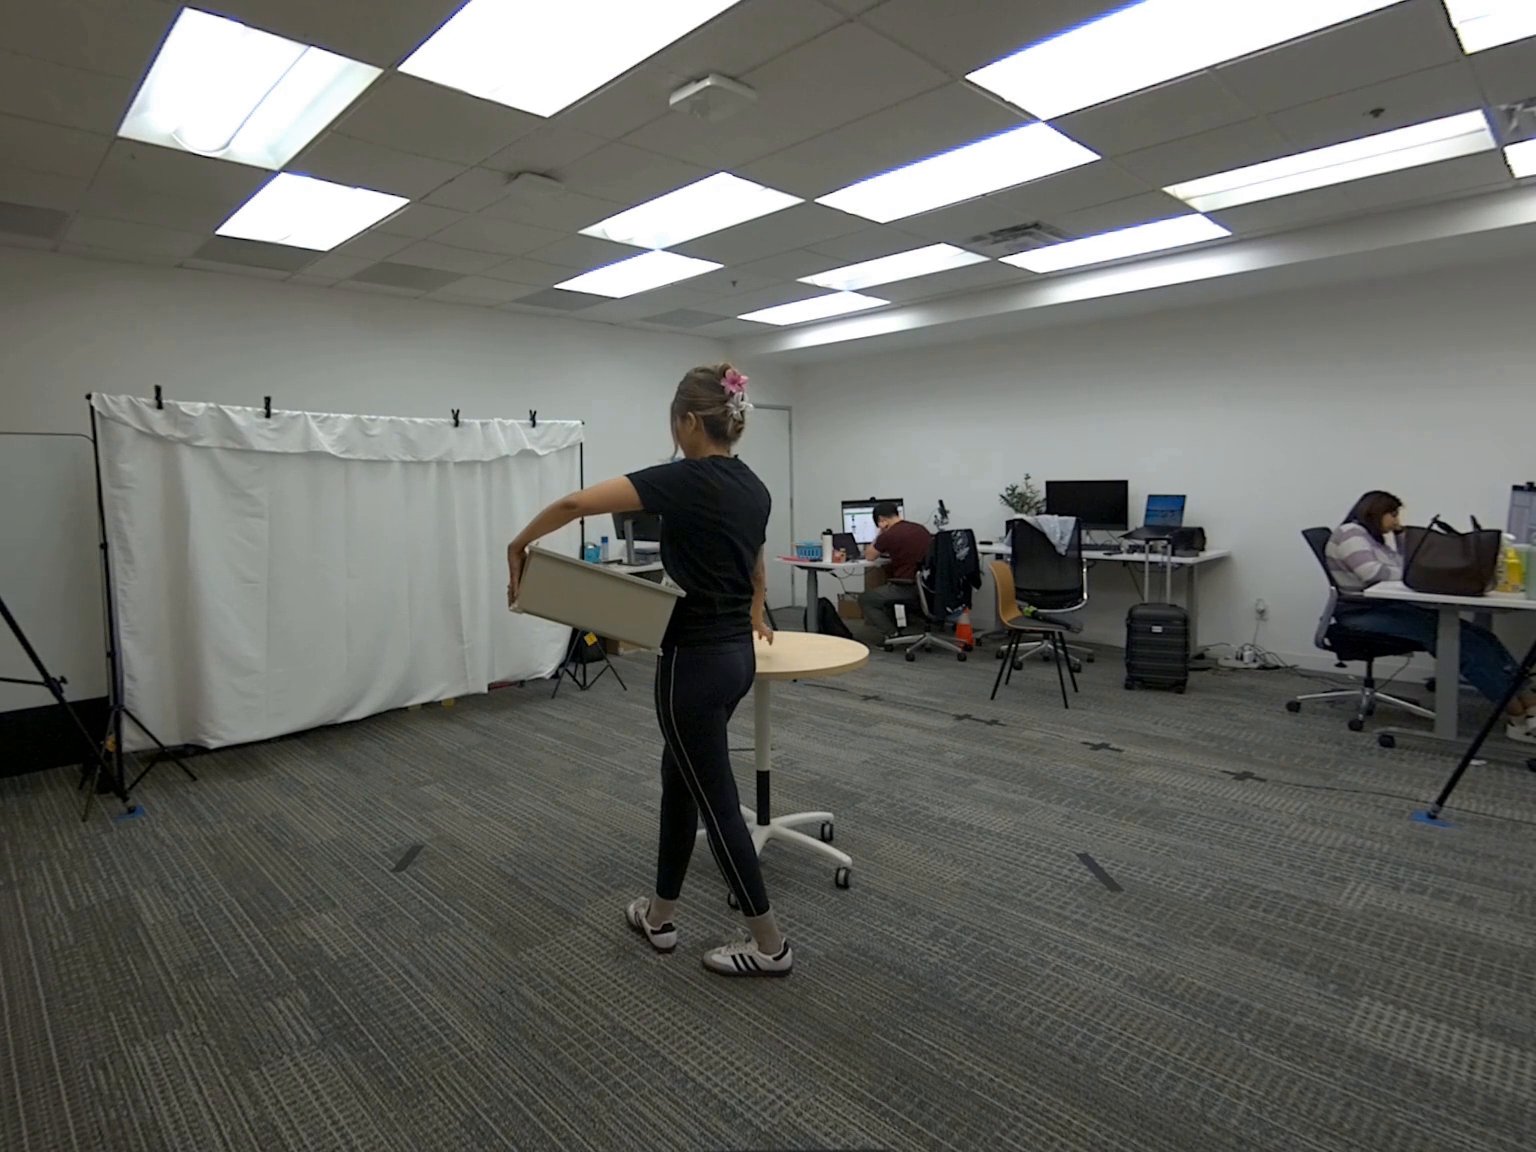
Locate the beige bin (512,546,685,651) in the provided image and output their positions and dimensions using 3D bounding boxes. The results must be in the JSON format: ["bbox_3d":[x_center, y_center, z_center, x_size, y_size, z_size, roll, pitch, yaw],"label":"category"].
[{"bbox_3d":[-0.474,0.041,2.379,0.417,0.188,0.383,18,4,-11],"label":"beige bin"}]
